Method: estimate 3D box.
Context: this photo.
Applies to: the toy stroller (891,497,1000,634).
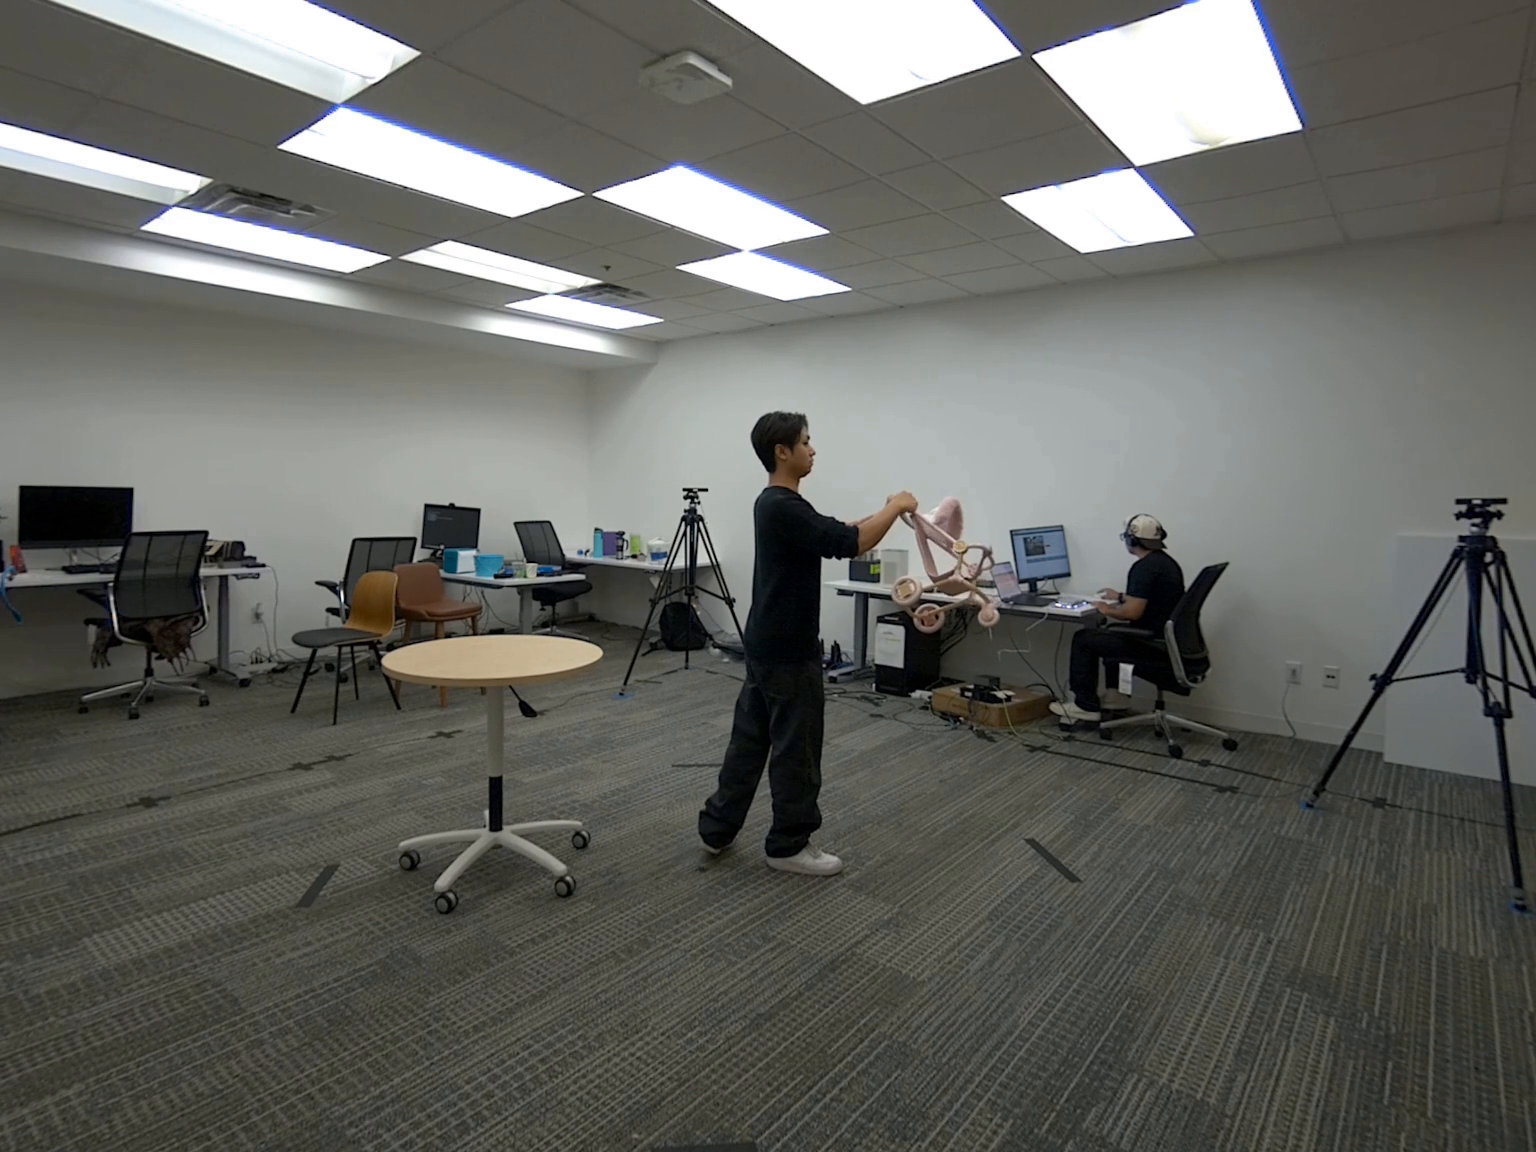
[{"bbox_3d":[0.616,-0.055,2.982,0.348,0.547,0.269,-14,-32,29],"label":"toy stroller"}]
